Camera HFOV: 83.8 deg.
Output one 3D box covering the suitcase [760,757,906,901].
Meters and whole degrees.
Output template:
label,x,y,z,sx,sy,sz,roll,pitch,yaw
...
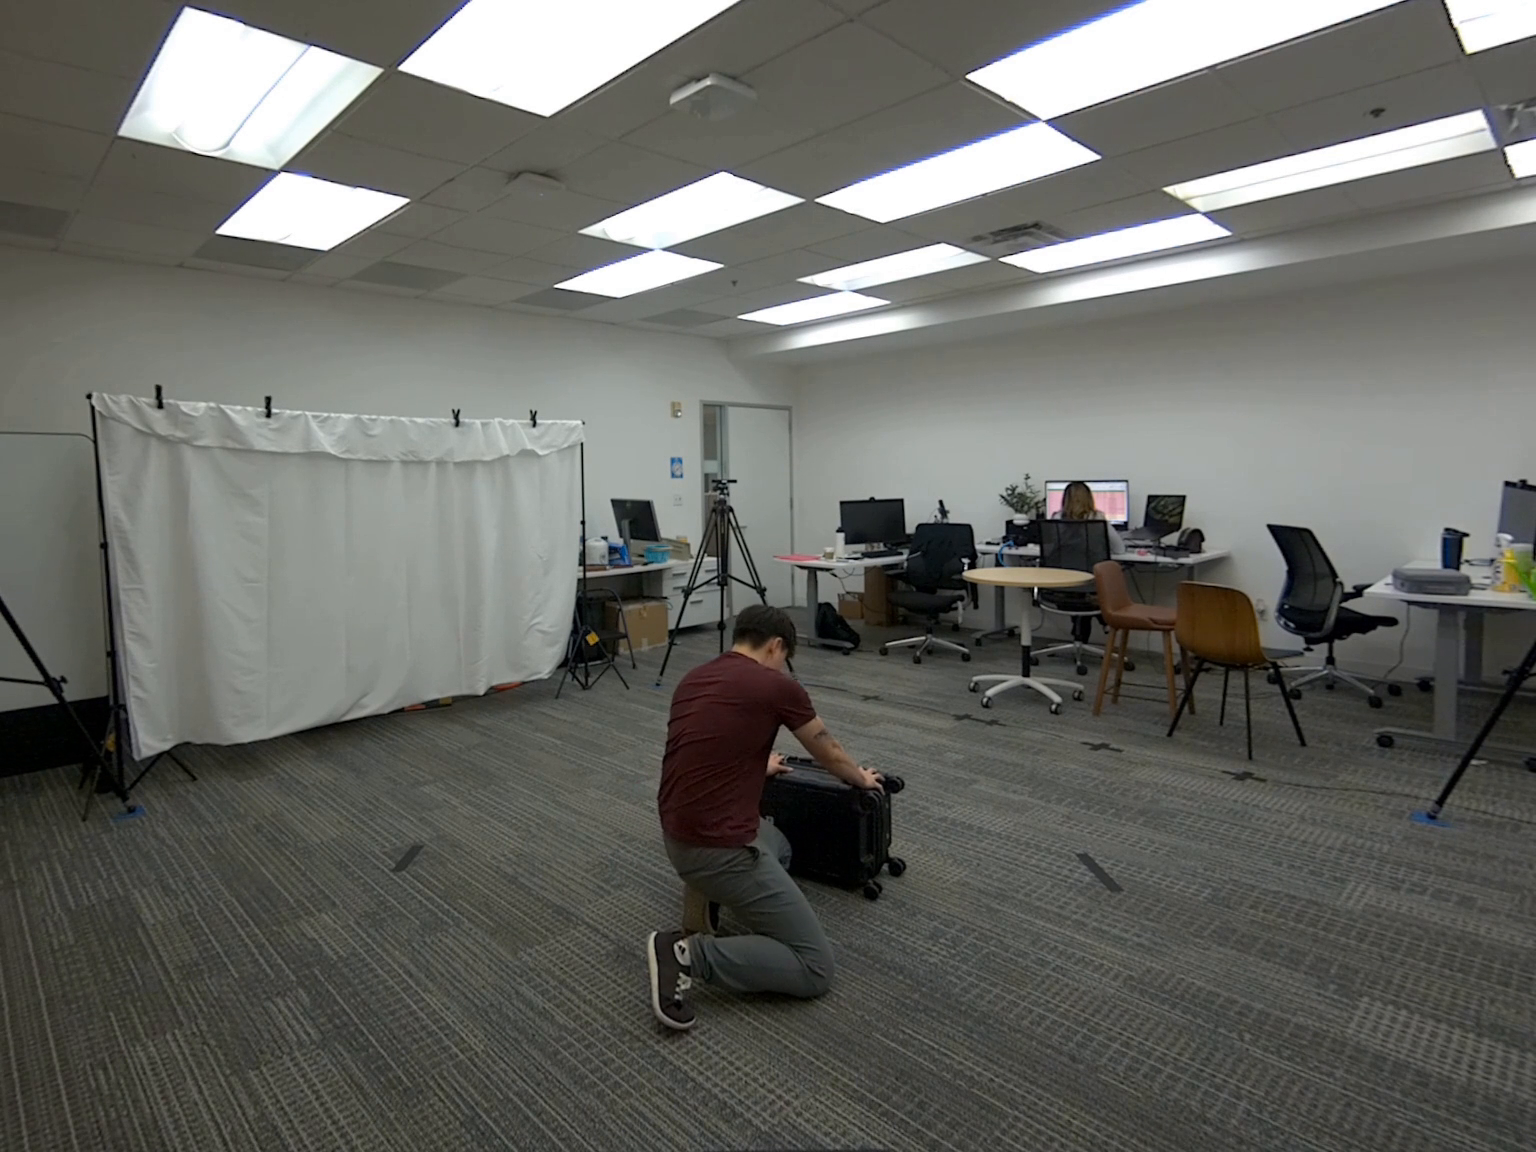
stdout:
label,x,y,z,sx,sy,sz,roll,pitch,yaw
suitcase,0.014,0.857,3.179,1.005,0.383,0.250,1,3,33
